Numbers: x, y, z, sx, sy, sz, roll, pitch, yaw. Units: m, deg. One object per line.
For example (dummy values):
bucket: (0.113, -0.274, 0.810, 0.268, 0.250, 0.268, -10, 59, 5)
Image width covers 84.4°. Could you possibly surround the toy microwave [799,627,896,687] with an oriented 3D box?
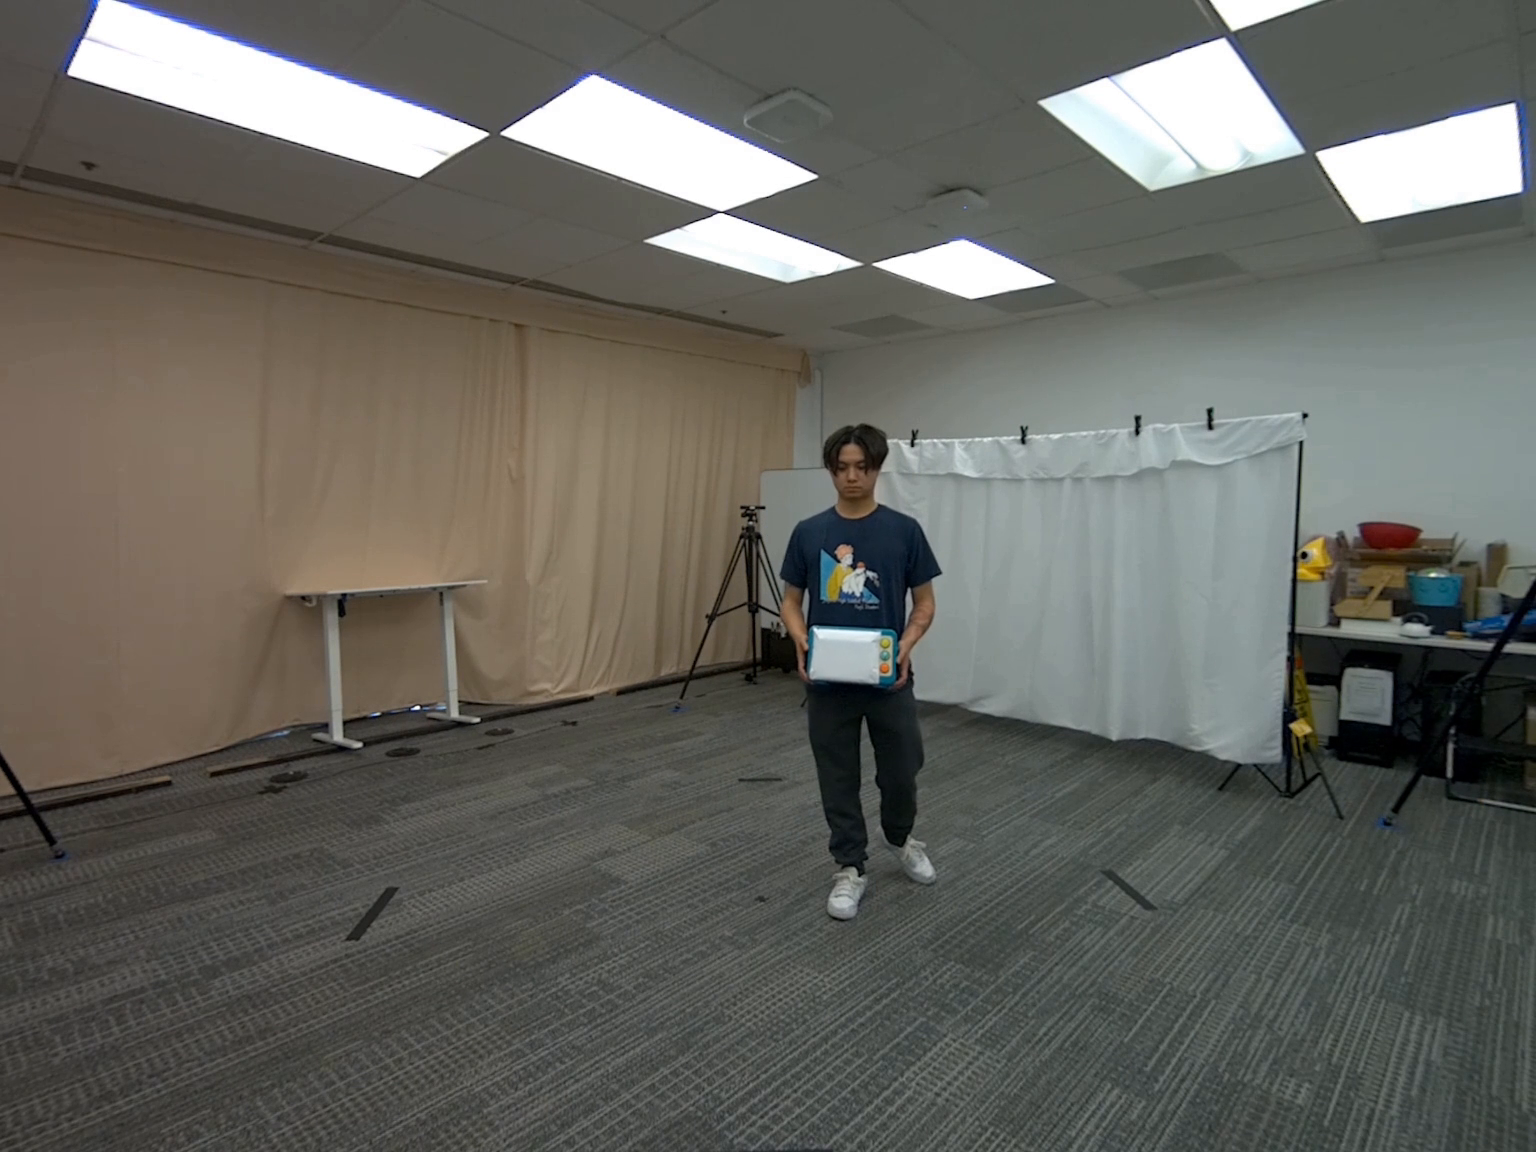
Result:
toy microwave: (0.255, 0.258, 2.709, 0.290, 0.185, 0.150, 3, -10, 10)
